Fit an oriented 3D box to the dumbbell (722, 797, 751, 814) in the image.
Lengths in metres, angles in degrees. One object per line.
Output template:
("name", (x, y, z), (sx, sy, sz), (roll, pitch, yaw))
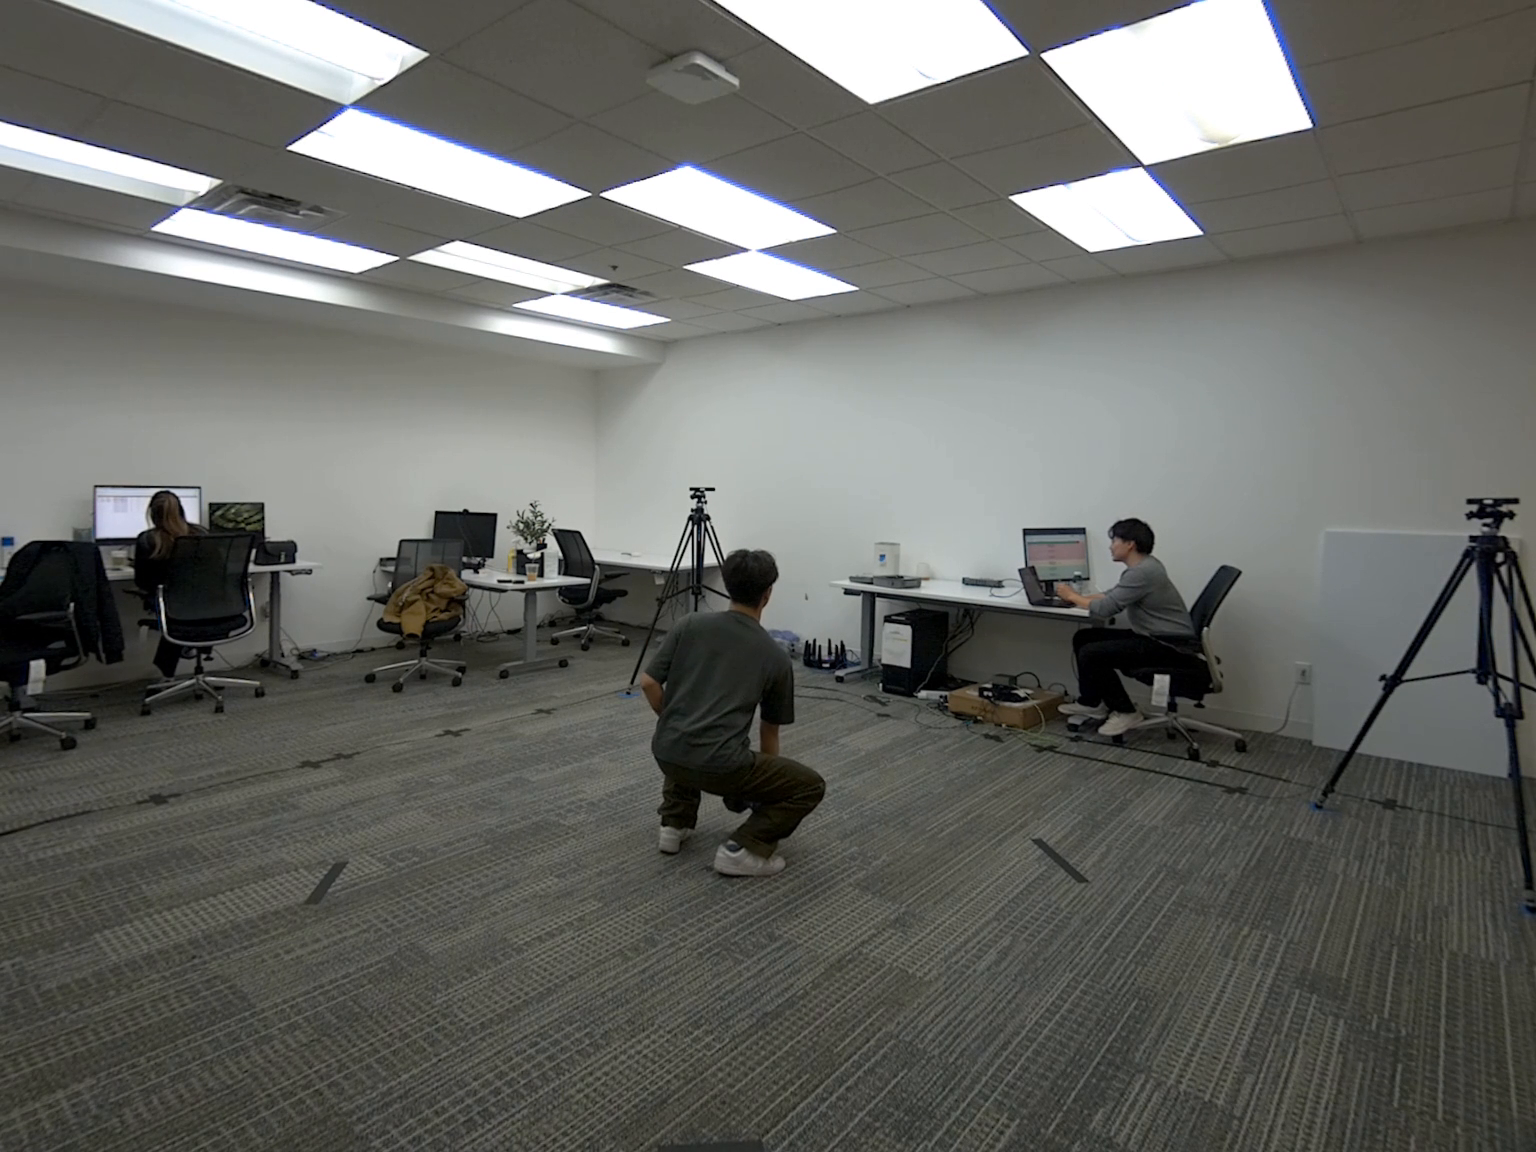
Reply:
("dumbbell", (-0.048, 0.900, 3.371), (0.303, 0.124, 0.104), (6, -16, 37))
